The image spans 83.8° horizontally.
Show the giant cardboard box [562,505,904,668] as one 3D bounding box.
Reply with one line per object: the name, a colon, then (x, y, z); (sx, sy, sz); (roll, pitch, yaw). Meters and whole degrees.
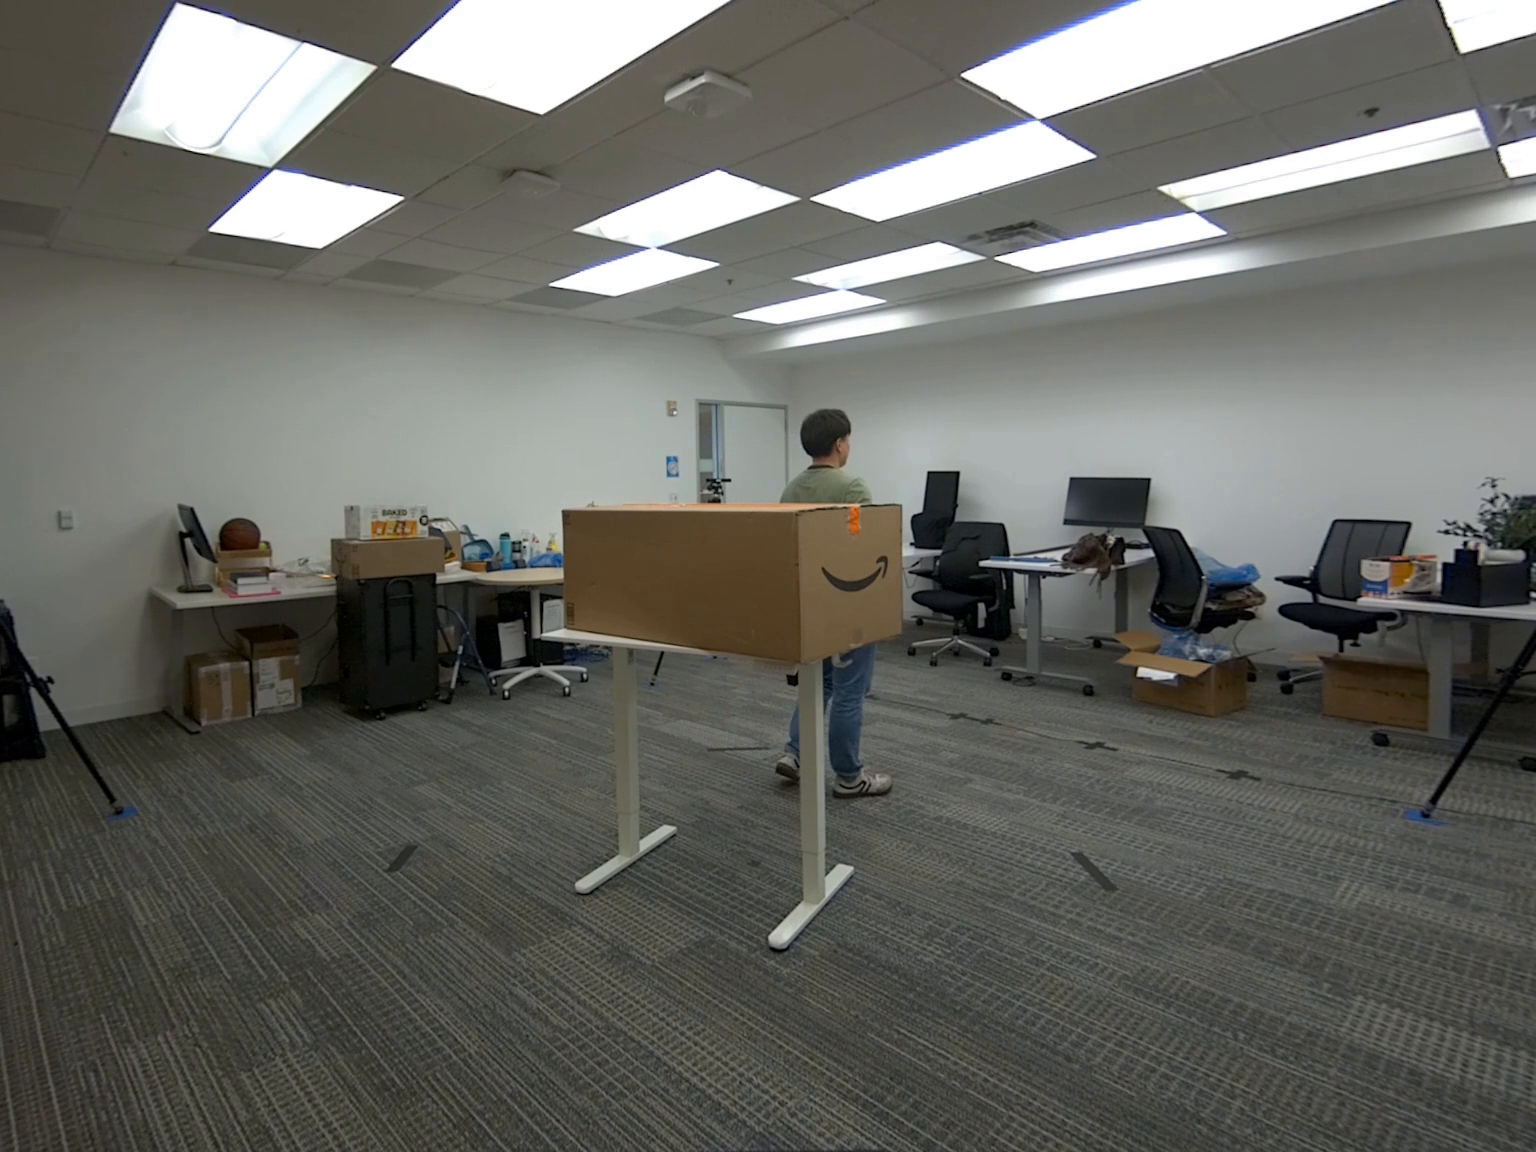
giant cardboard box: (-0.145, -0.021, 2.871); (1.057, 0.425, 0.562); (3, 6, 40)
